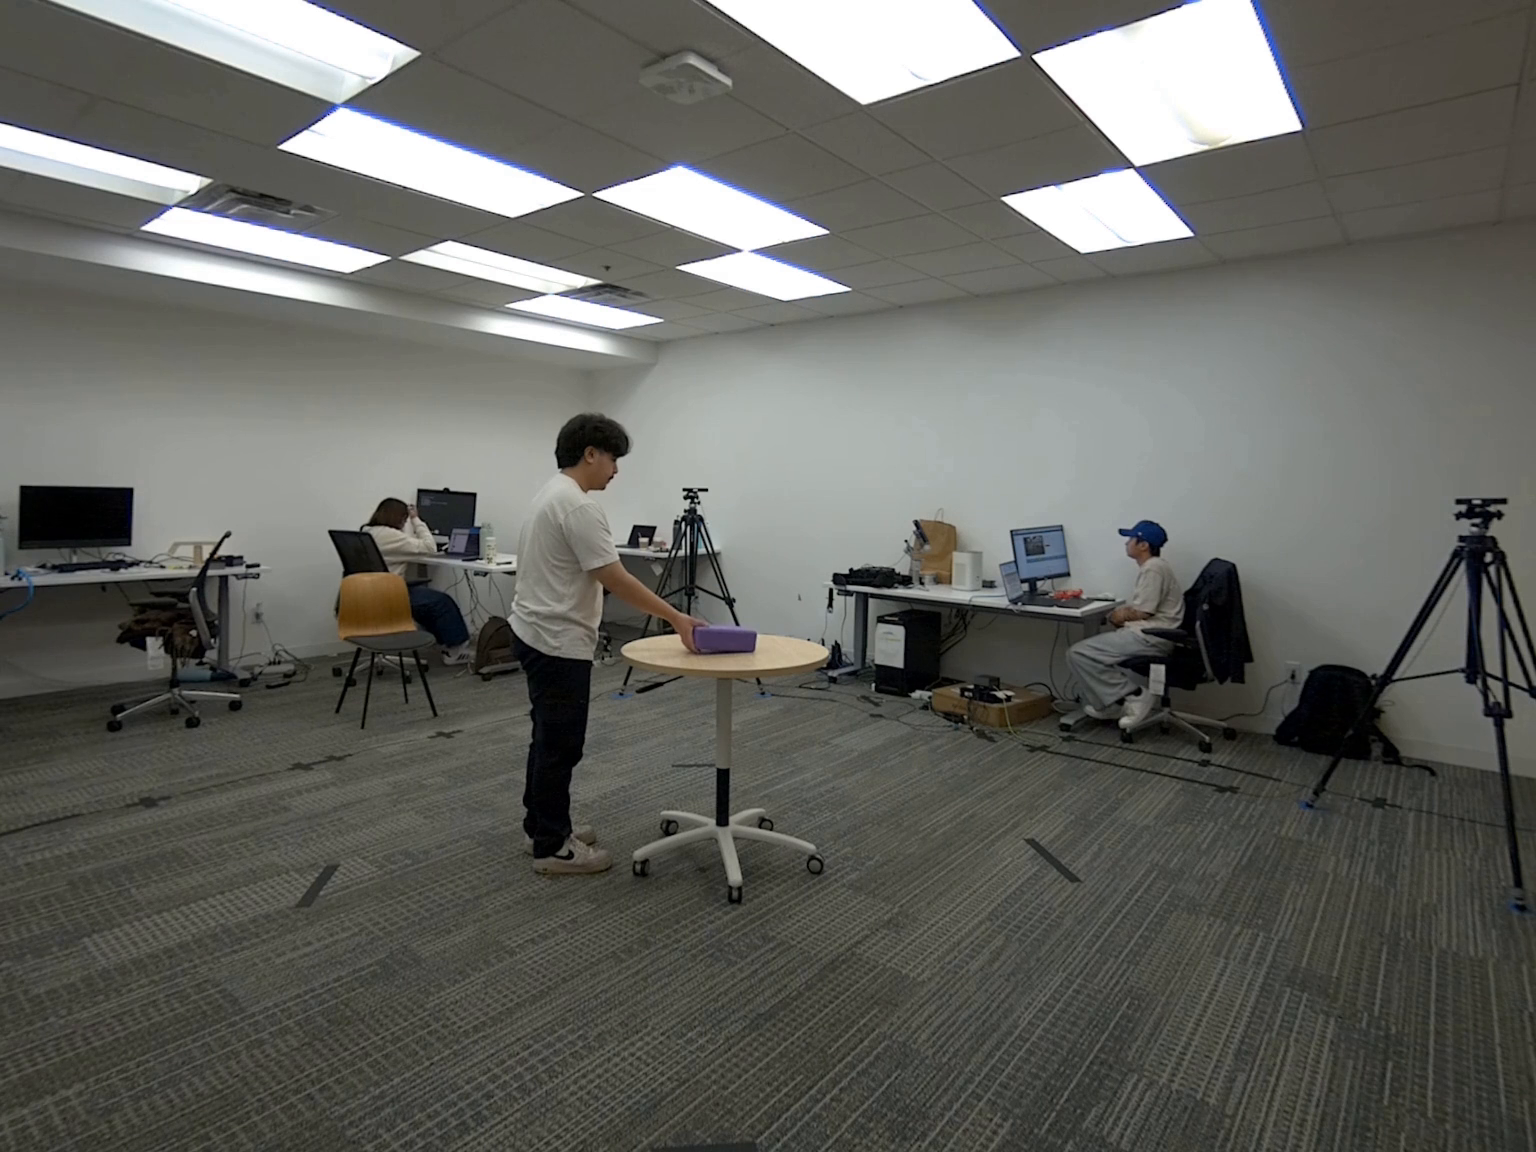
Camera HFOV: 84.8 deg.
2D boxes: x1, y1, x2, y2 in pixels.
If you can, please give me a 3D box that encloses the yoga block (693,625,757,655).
[{"bbox_3d":[-0.181,0.222,3.109,0.224,0.076,0.152,4,3,-20],"label":"yoga block"}]
